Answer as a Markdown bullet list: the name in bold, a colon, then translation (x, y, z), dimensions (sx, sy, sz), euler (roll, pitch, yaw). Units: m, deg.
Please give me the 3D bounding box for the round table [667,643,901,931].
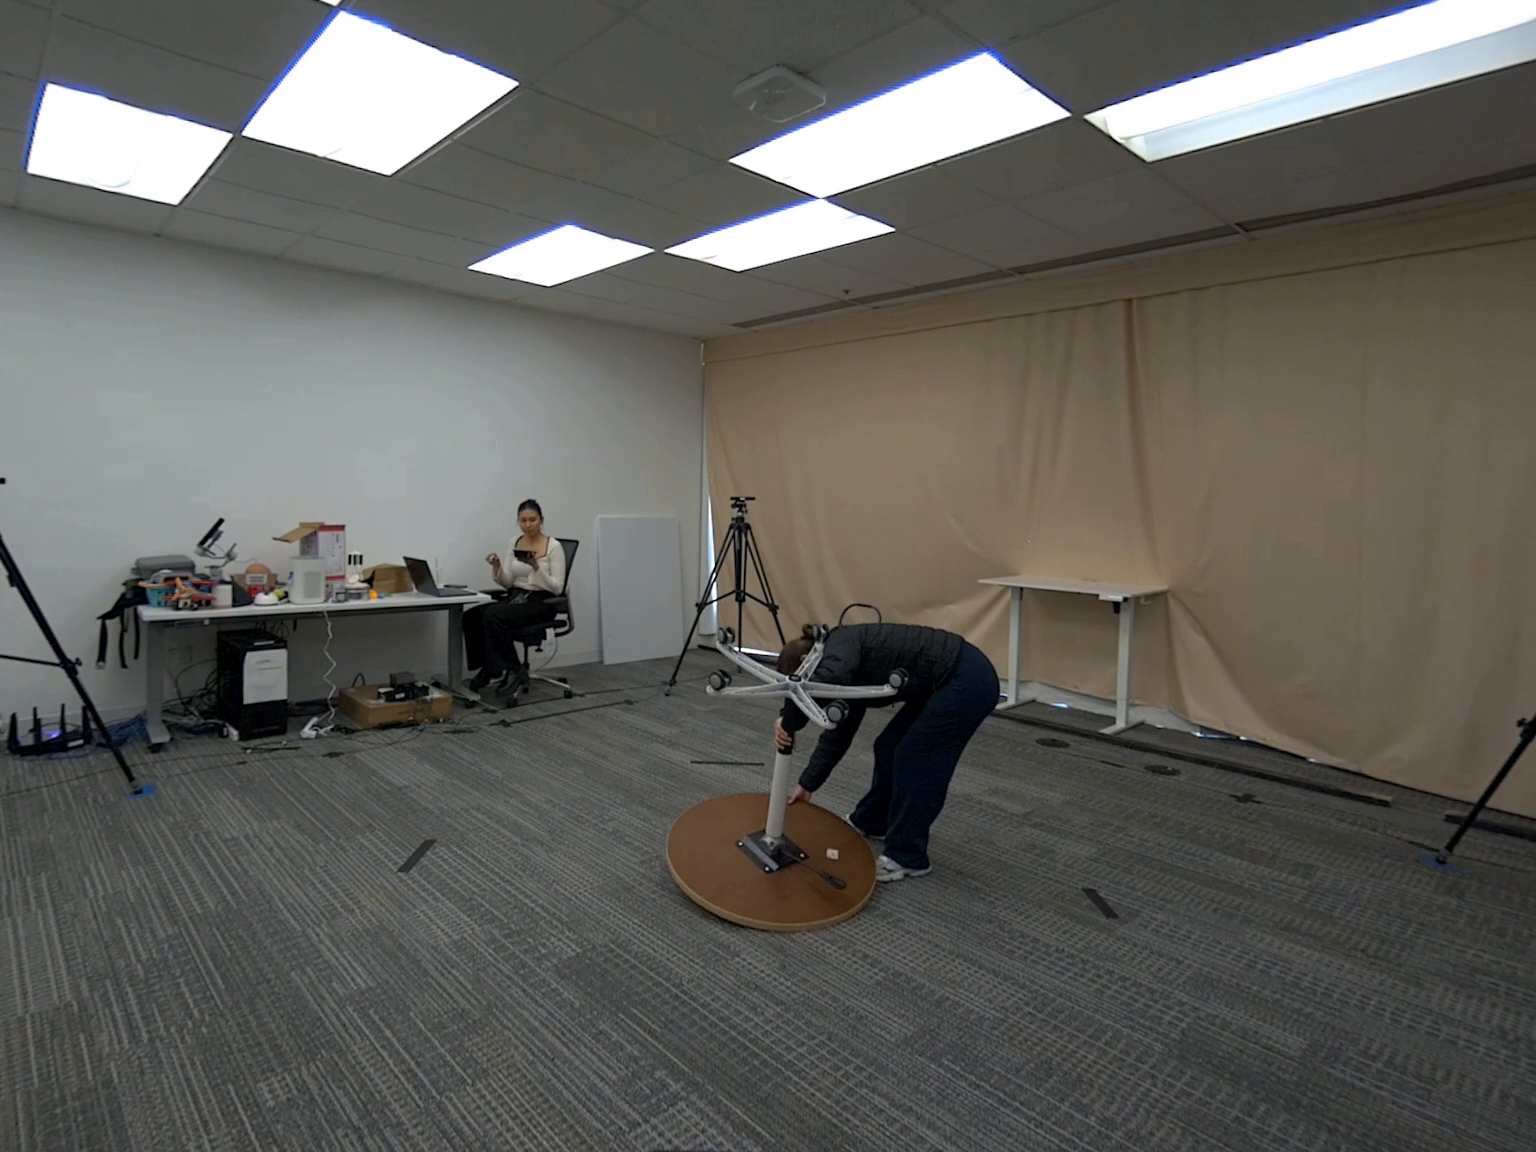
- **round table**: translation (0.050, 0.653, 2.946), dimensions (0.783, 0.779, 0.794), euler (5, 15, -3)
